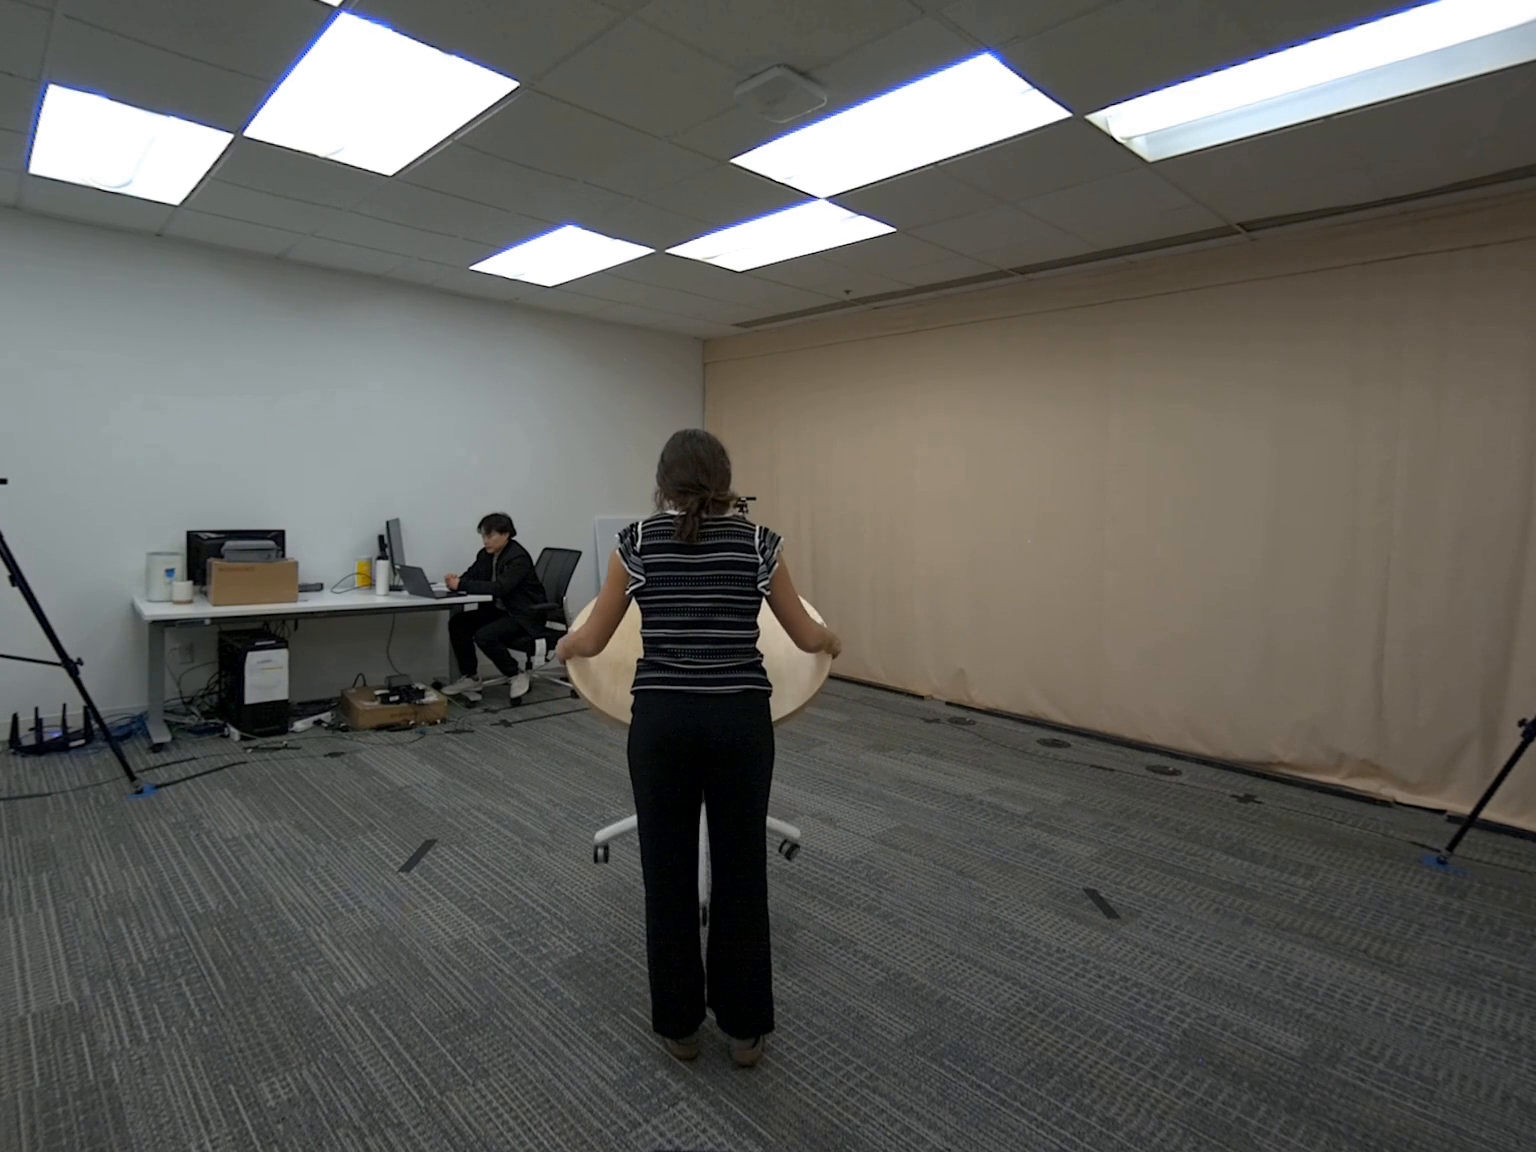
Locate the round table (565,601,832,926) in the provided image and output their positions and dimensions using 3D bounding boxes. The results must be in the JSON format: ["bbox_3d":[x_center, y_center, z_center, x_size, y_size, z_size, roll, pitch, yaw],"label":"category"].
[{"bbox_3d":[-0.220,0.531,2.635,0.763,0.779,0.779,2,32,-2],"label":"round table"}]
